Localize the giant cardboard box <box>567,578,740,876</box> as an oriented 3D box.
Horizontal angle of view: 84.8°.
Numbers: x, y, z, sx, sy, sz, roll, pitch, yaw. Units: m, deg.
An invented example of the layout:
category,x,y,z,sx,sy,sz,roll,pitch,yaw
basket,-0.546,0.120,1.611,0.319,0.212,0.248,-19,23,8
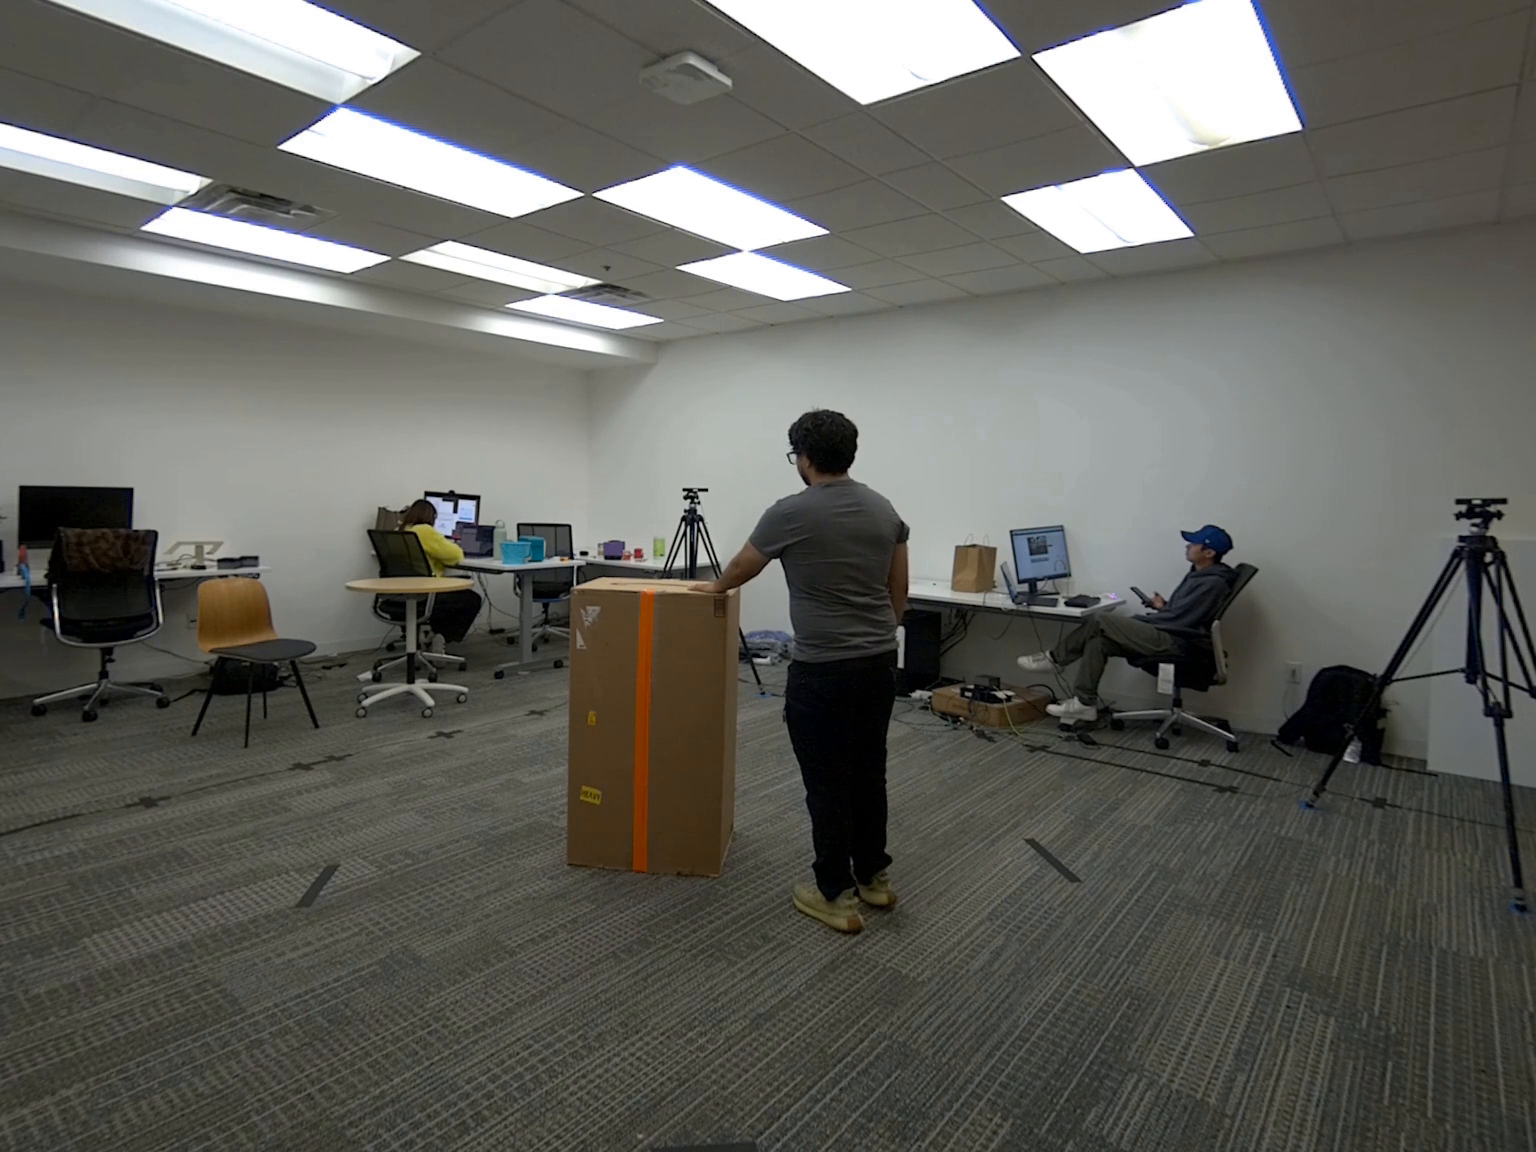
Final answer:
category,x,y,z,sx,sy,sz,roll,pitch,yaw
giant cardboard box,-0.438,0.540,3.260,0.583,1.023,0.423,2,3,7
